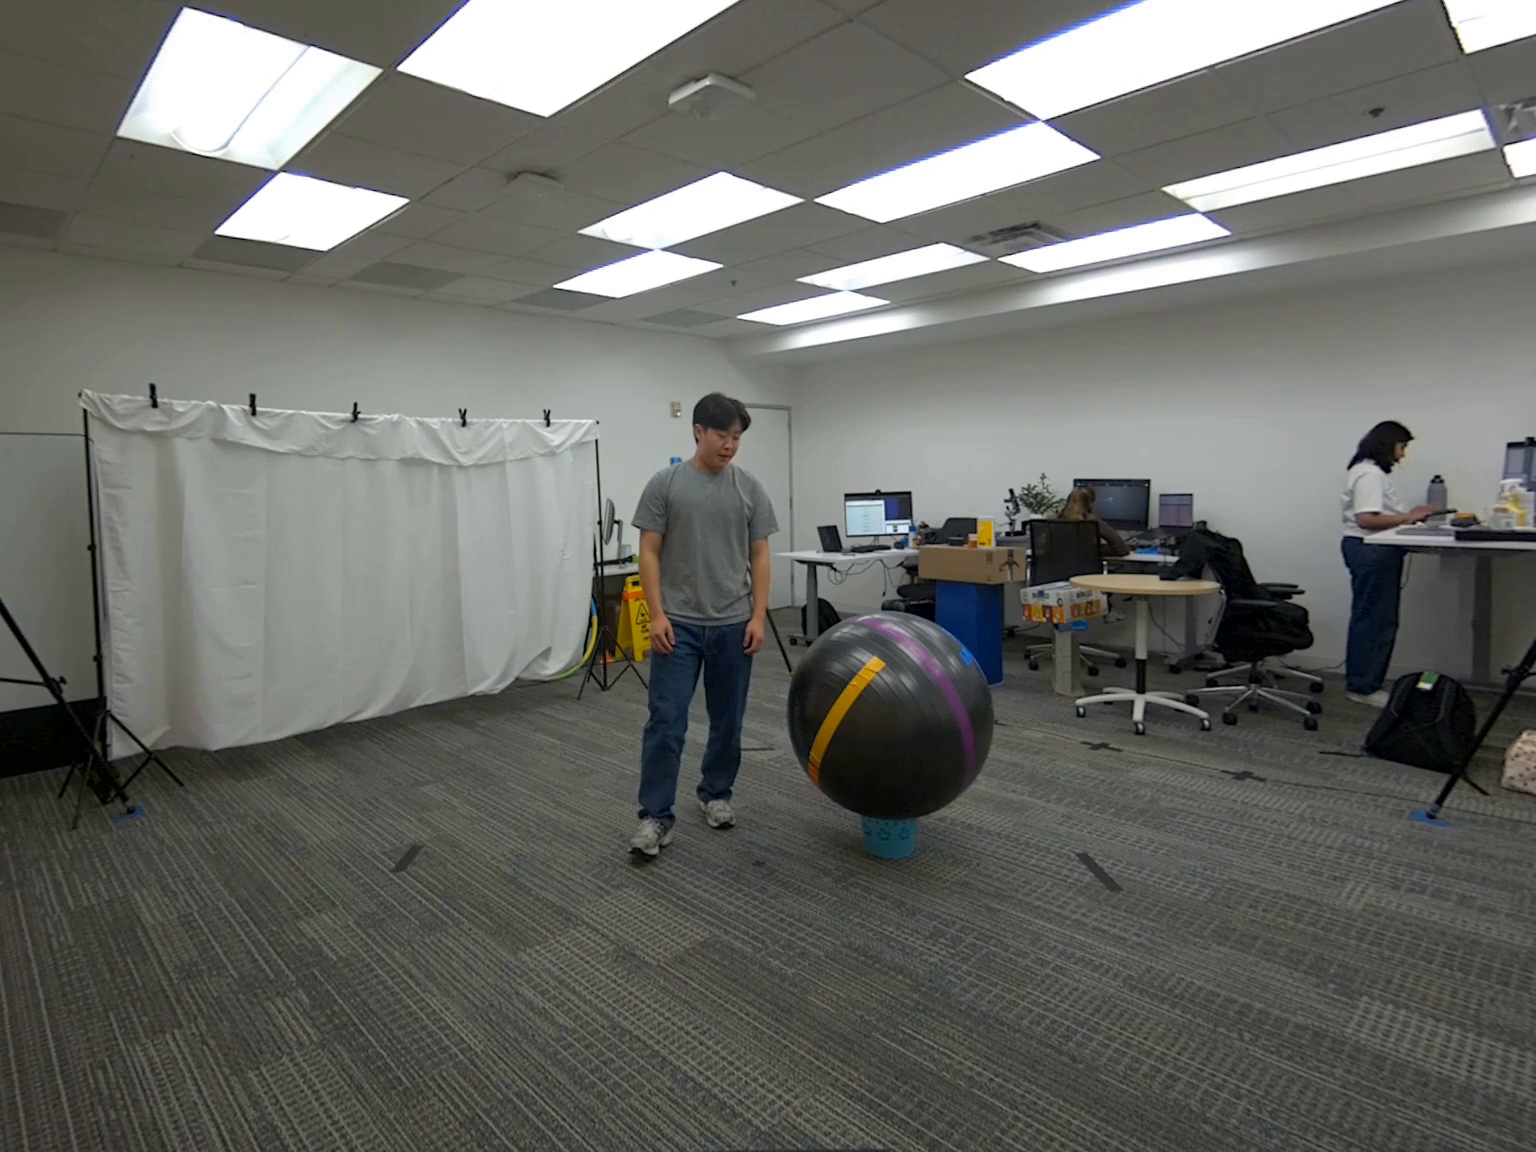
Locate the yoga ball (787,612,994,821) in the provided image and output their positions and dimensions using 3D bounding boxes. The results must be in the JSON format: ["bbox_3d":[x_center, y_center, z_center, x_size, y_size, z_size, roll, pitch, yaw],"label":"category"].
[{"bbox_3d":[0.448,0.517,3.184,0.757,0.755,0.762,-1,5,-2],"label":"yoga ball"}]
